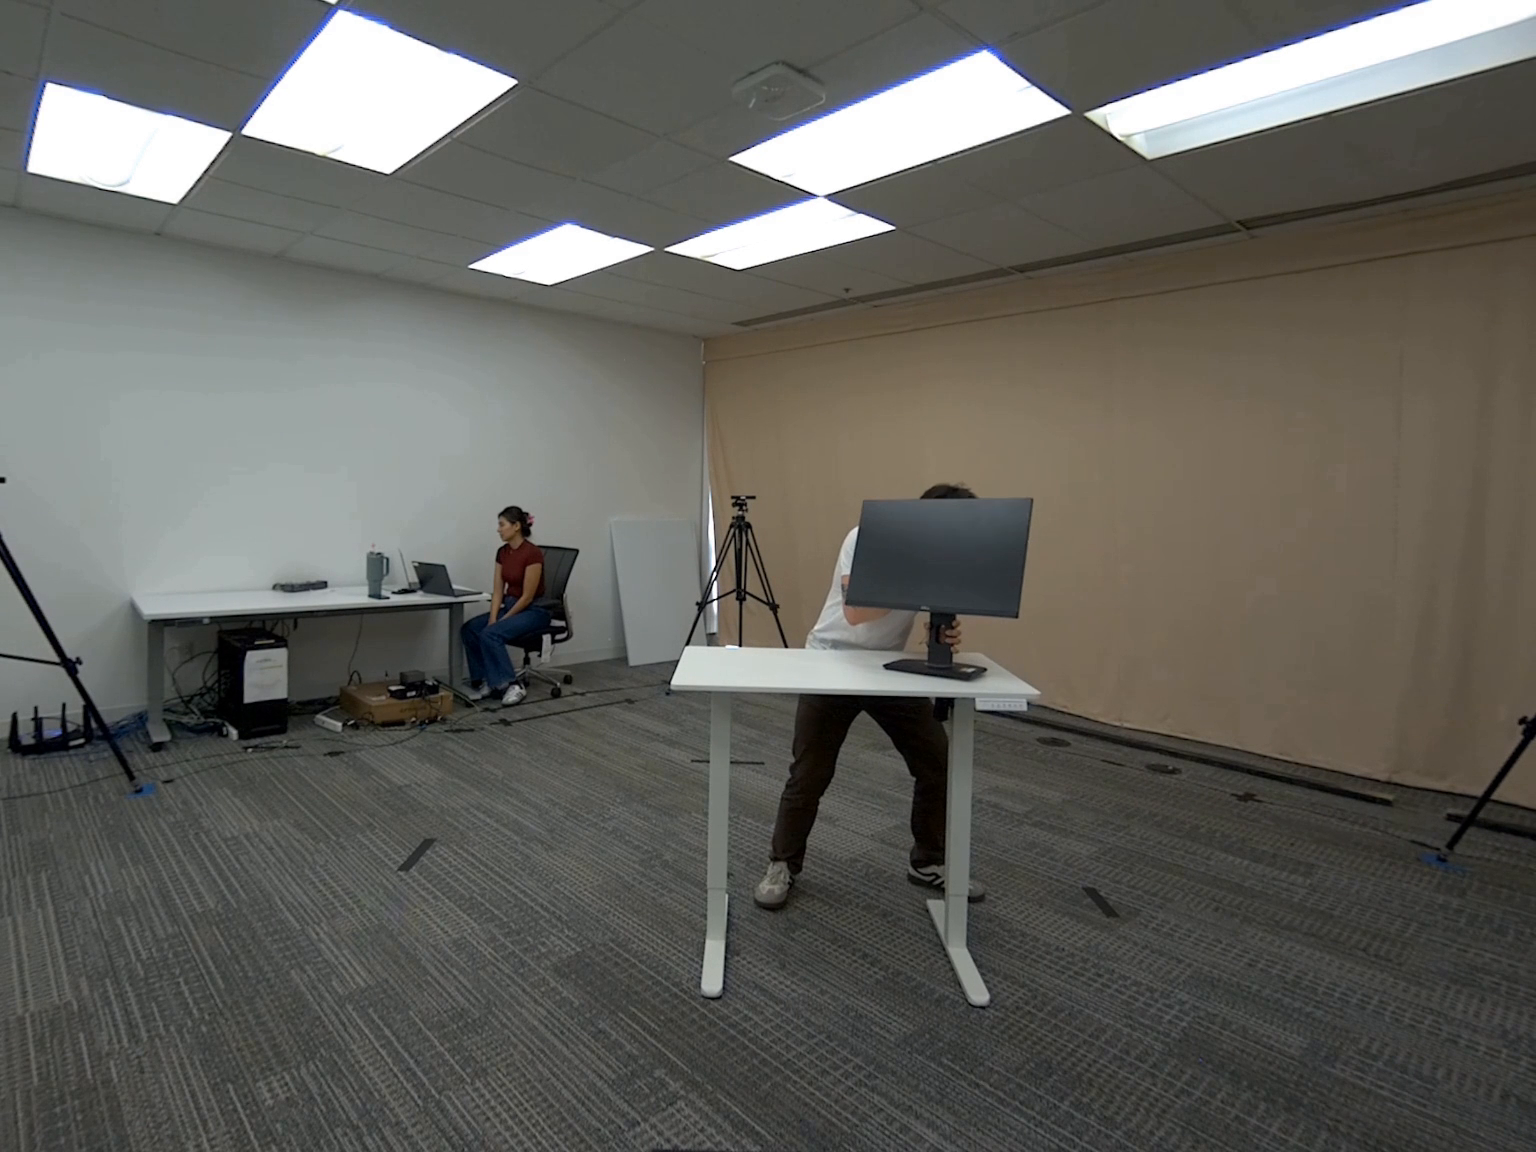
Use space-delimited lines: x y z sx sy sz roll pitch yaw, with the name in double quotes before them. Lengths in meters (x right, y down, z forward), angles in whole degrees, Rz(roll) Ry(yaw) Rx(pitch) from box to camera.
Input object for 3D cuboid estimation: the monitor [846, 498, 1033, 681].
"monitor" 0.516 0.033 2.527 0.551 0.523 0.183 2 -2 32
